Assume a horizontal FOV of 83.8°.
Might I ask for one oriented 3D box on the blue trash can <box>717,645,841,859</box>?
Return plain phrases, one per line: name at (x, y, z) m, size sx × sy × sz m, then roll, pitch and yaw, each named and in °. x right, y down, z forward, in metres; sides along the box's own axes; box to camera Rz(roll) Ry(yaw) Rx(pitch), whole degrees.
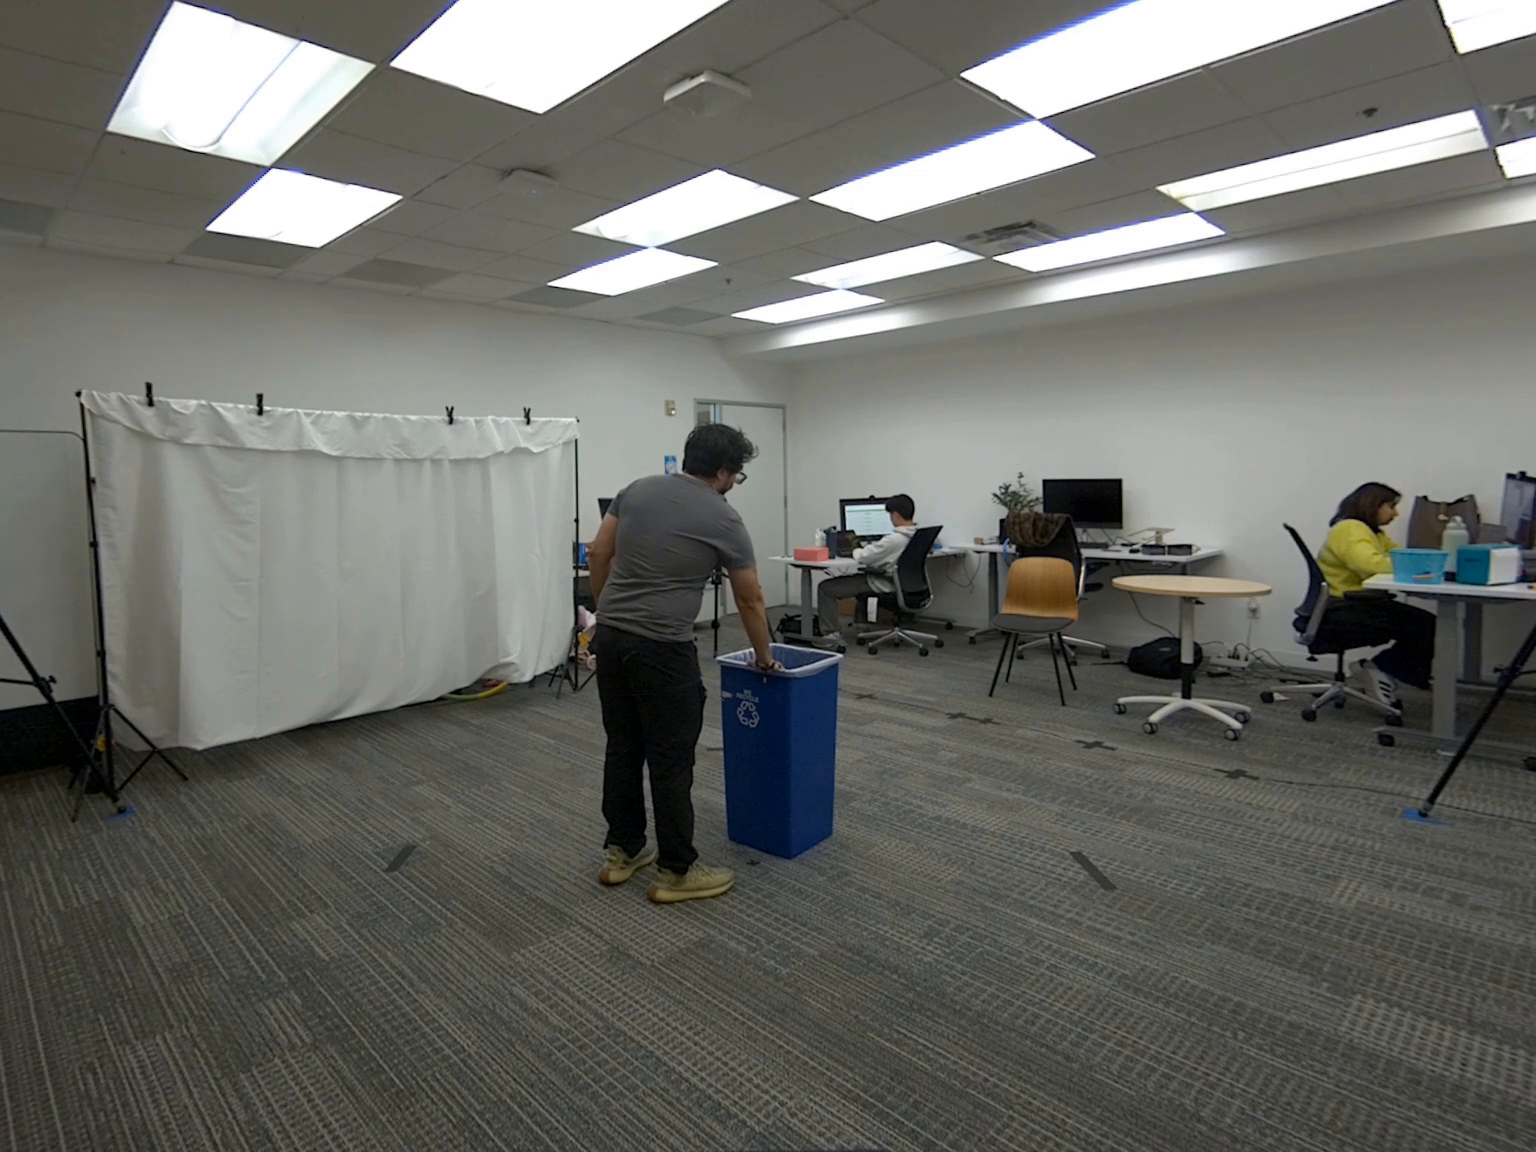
blue trash can at (0.057, 0.659, 3.303) m, size 0.385 × 0.711 × 0.368 m, roll 3°, pitch 5°, yaw 39°
